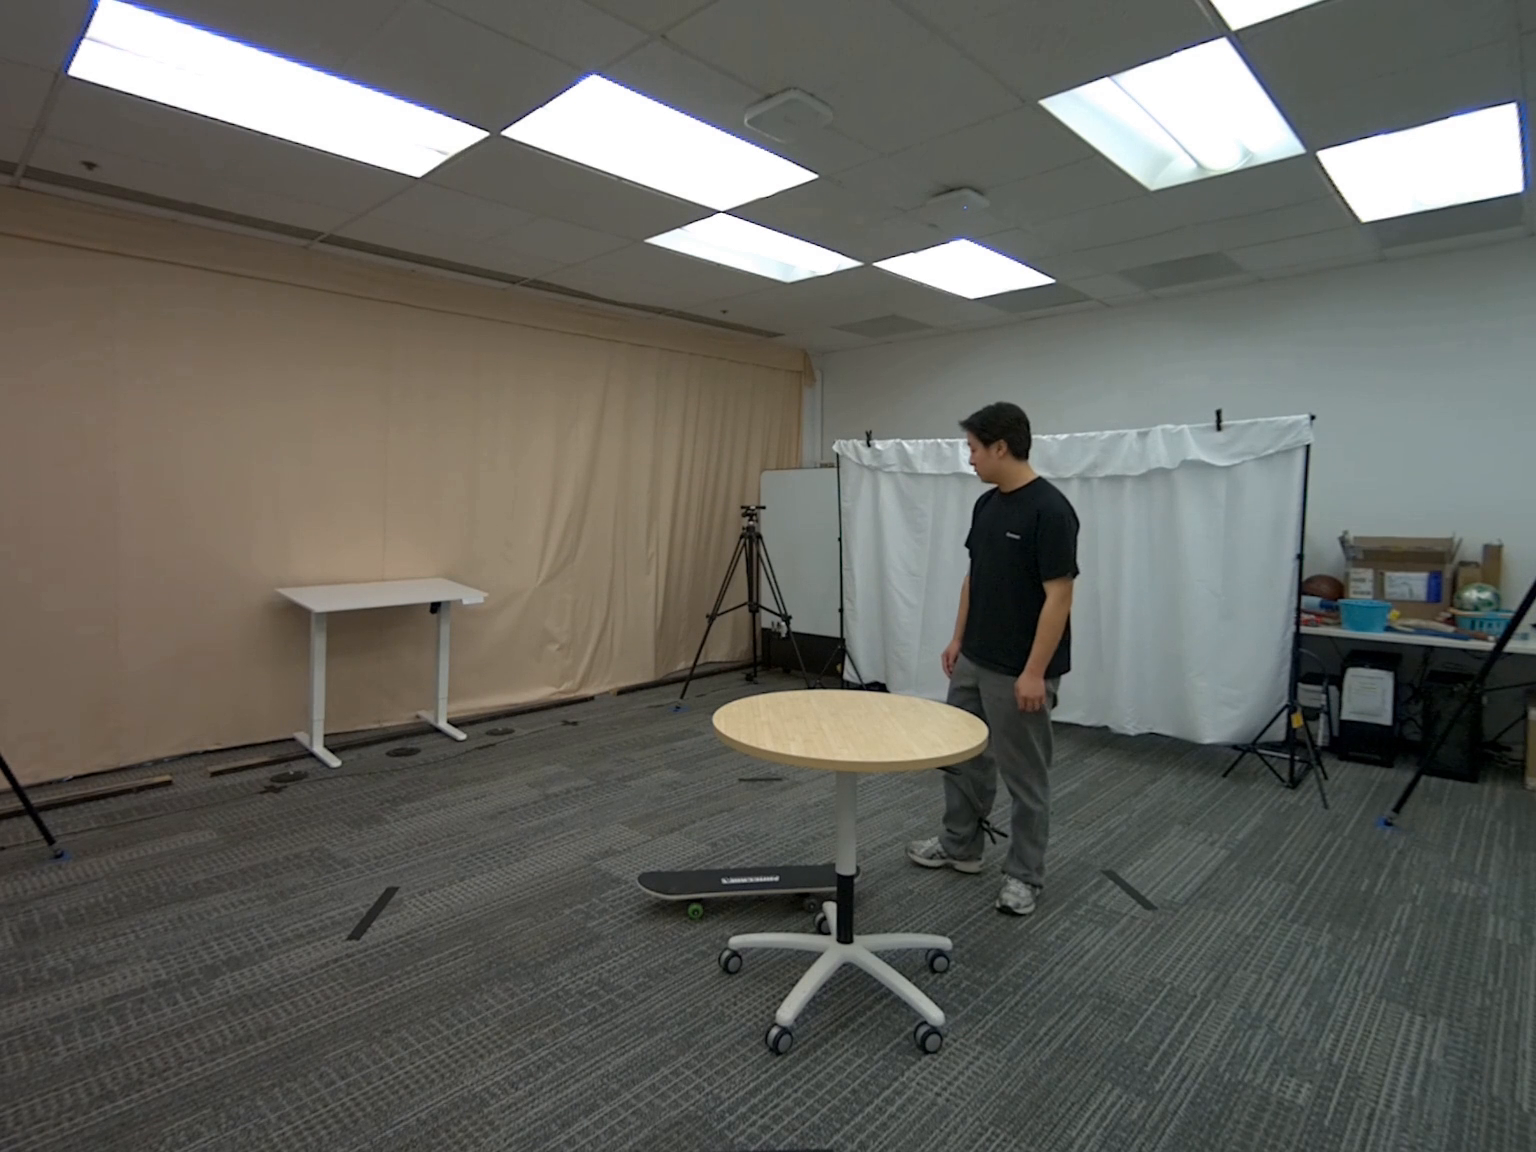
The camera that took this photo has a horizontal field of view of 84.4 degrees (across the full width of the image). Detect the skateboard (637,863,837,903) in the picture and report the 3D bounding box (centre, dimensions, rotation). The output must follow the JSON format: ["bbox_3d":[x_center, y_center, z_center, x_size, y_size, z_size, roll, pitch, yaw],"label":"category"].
[{"bbox_3d":[-0.060,1.094,2.942,0.779,0.110,0.195,-1,4,-7],"label":"skateboard"}]
